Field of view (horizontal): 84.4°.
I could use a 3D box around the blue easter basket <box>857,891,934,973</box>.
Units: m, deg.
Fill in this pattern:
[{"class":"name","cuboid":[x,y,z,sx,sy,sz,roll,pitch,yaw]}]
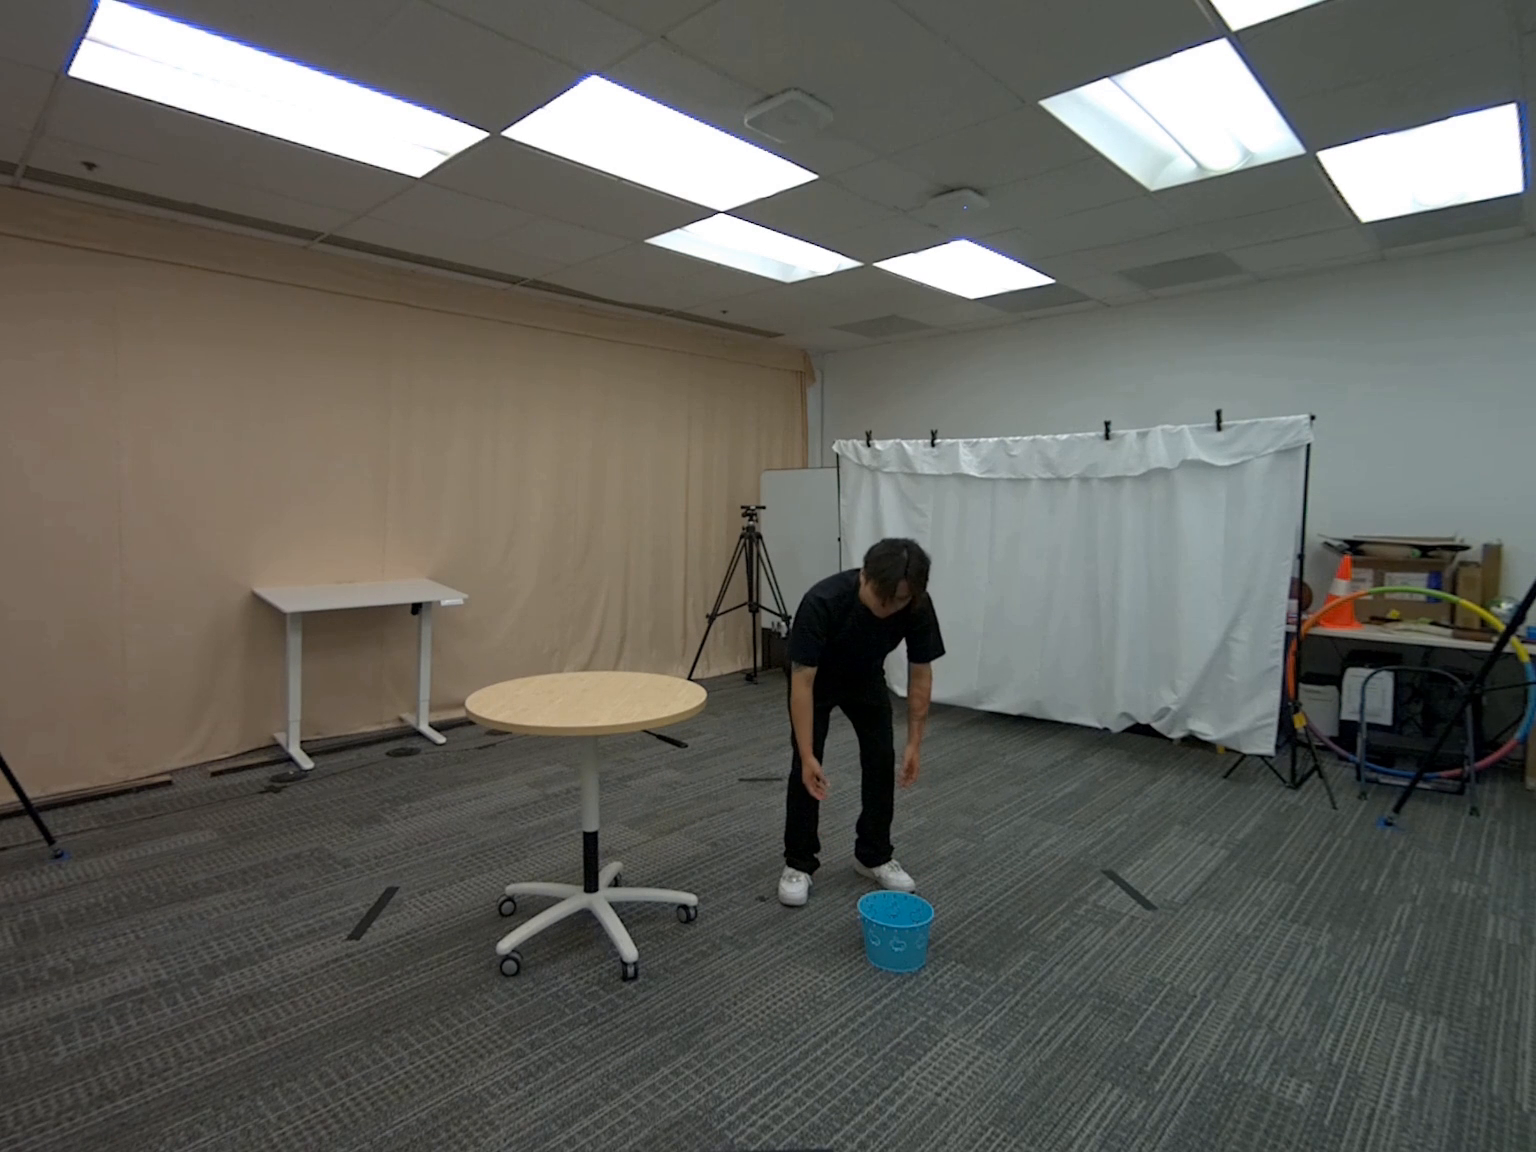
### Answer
[{"class":"blue easter basket","cuboid":[0.397,1.101,2.593,0.243,0.155,0.244,0,5,-2]}]
